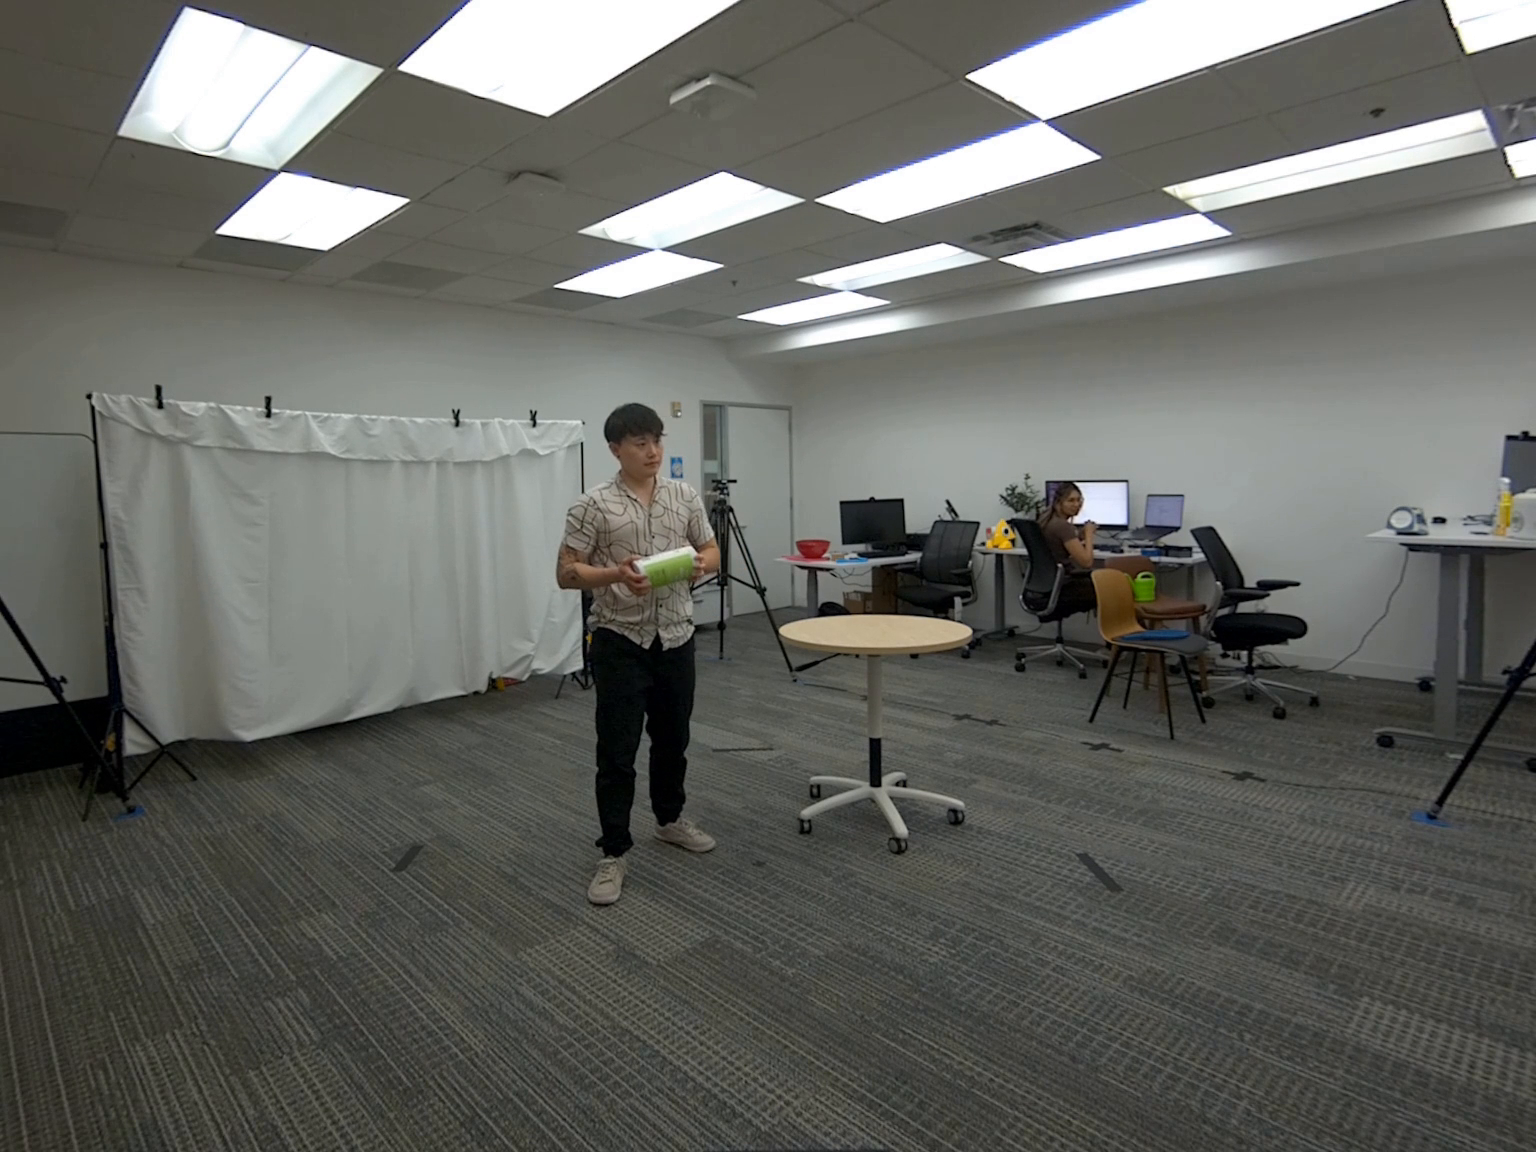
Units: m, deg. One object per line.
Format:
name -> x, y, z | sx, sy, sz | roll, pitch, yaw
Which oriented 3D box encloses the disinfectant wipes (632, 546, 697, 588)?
disinfectant wipes -> -0.358, -0.020, 2.840 | 0.214, 0.116, 0.121 | -19, 14, -31
